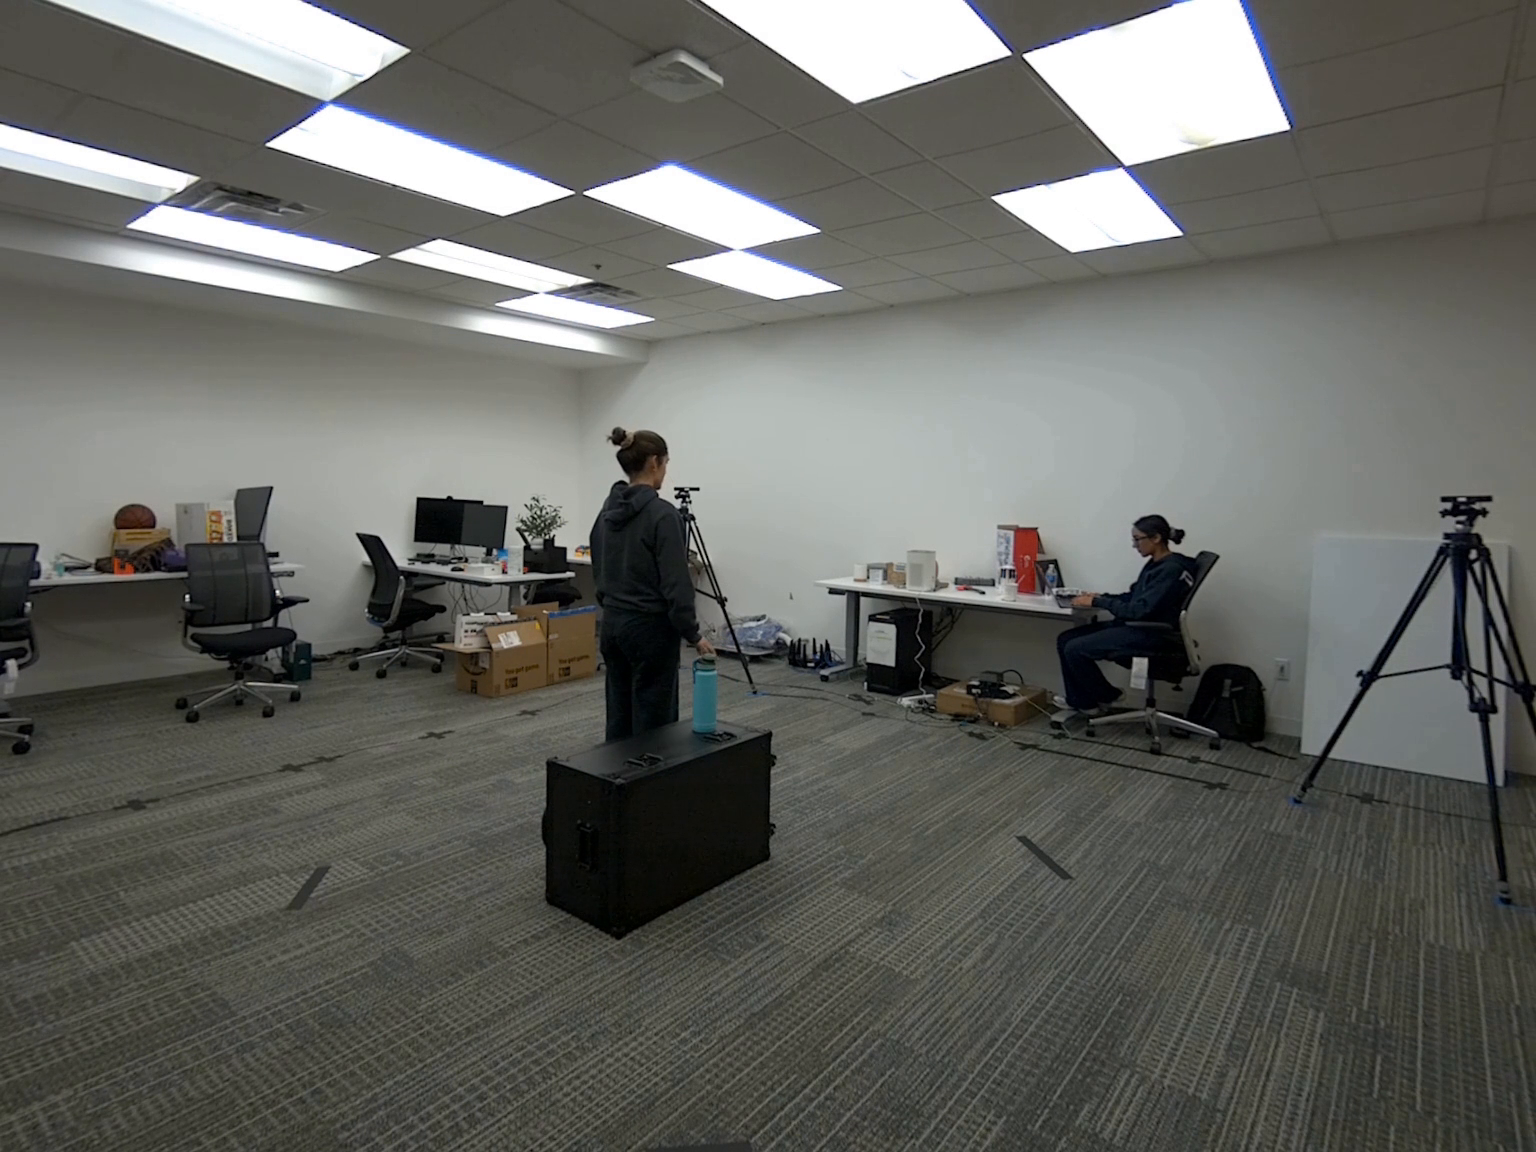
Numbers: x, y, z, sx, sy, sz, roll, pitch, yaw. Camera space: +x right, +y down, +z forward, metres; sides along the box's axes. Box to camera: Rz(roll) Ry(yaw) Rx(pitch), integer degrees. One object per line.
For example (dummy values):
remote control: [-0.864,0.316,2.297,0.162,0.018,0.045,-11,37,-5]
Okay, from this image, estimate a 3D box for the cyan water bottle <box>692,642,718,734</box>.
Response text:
cyan water bottle: [-0.238,0.435,3.200,0.092,0.282,0.093,0,3,-2]
